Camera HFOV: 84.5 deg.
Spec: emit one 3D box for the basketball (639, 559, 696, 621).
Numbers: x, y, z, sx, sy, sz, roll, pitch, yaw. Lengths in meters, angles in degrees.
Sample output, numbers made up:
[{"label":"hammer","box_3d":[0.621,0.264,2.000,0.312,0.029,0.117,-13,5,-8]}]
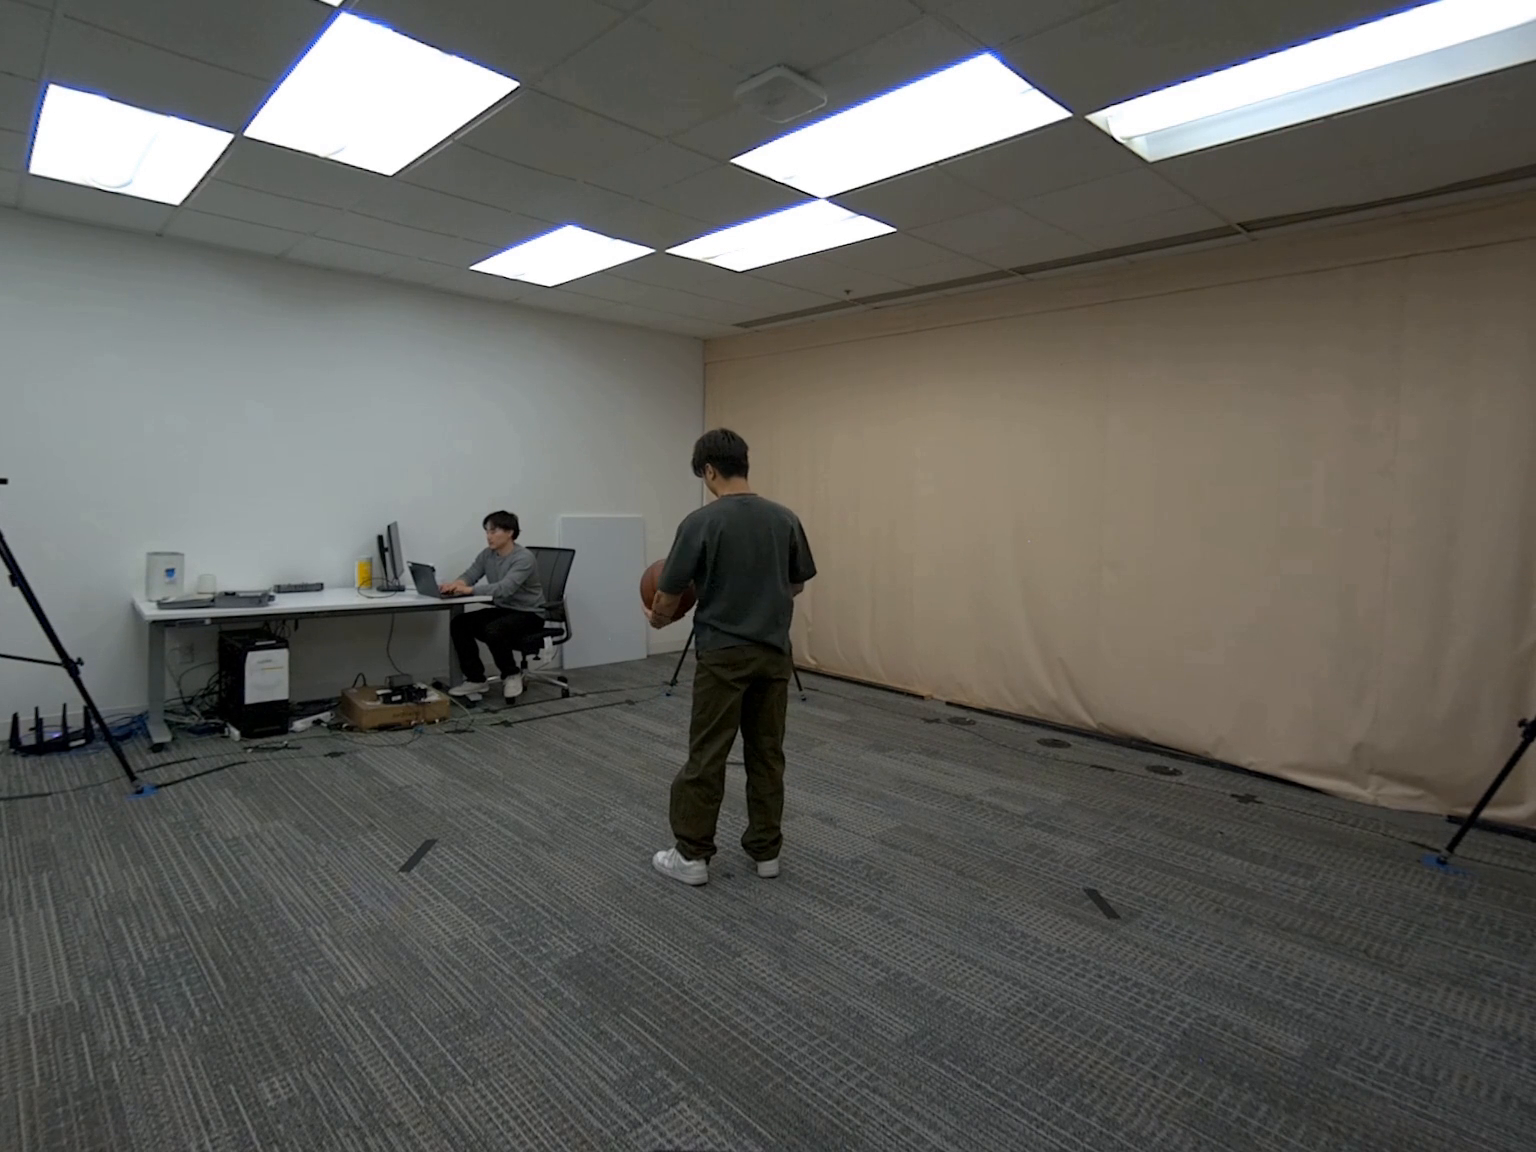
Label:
[{"label":"basketball","box_3d":[-0.379,0.052,3.345,0.236,0.235,0.237,1,4,-1]}]
